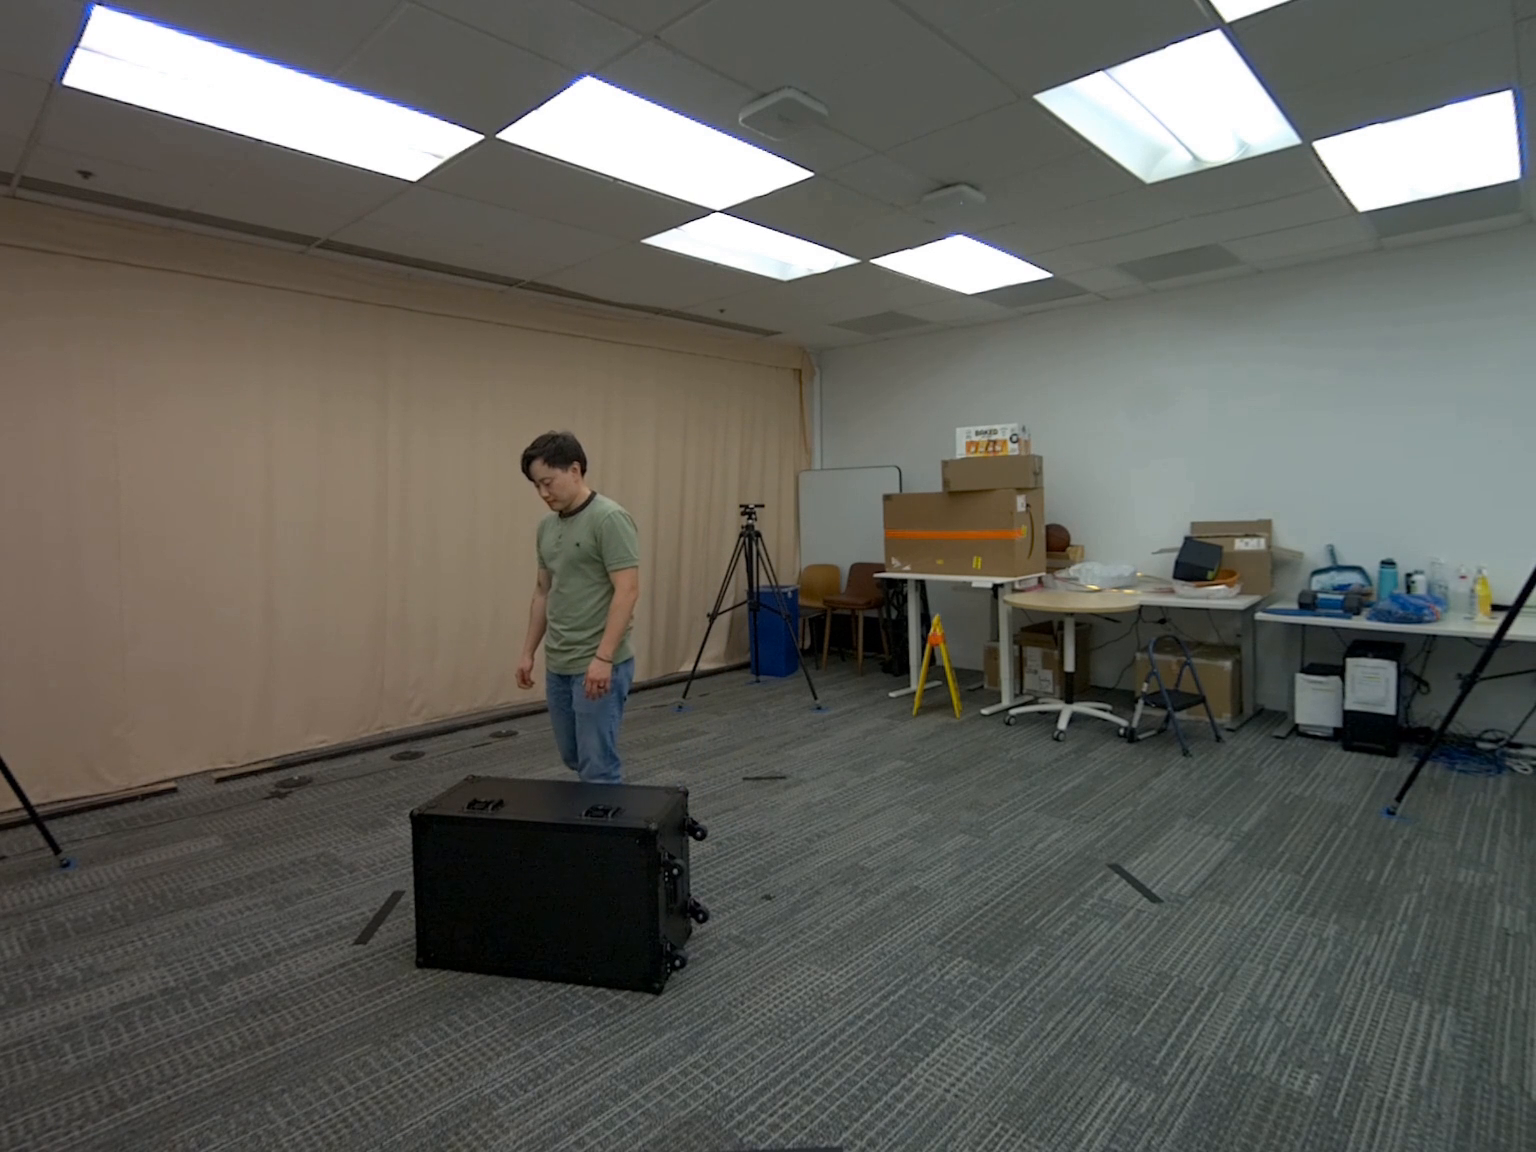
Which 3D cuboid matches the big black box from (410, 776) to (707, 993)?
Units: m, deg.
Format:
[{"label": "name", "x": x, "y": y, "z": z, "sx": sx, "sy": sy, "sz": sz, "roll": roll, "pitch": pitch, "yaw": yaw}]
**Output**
[{"label": "big black box", "x": -0.689, "y": 0.932, "z": 2.660, "sx": 0.873, "sy": 0.520, "sz": 0.392, "roll": 0, "pitch": 3, "yaw": 12}]
